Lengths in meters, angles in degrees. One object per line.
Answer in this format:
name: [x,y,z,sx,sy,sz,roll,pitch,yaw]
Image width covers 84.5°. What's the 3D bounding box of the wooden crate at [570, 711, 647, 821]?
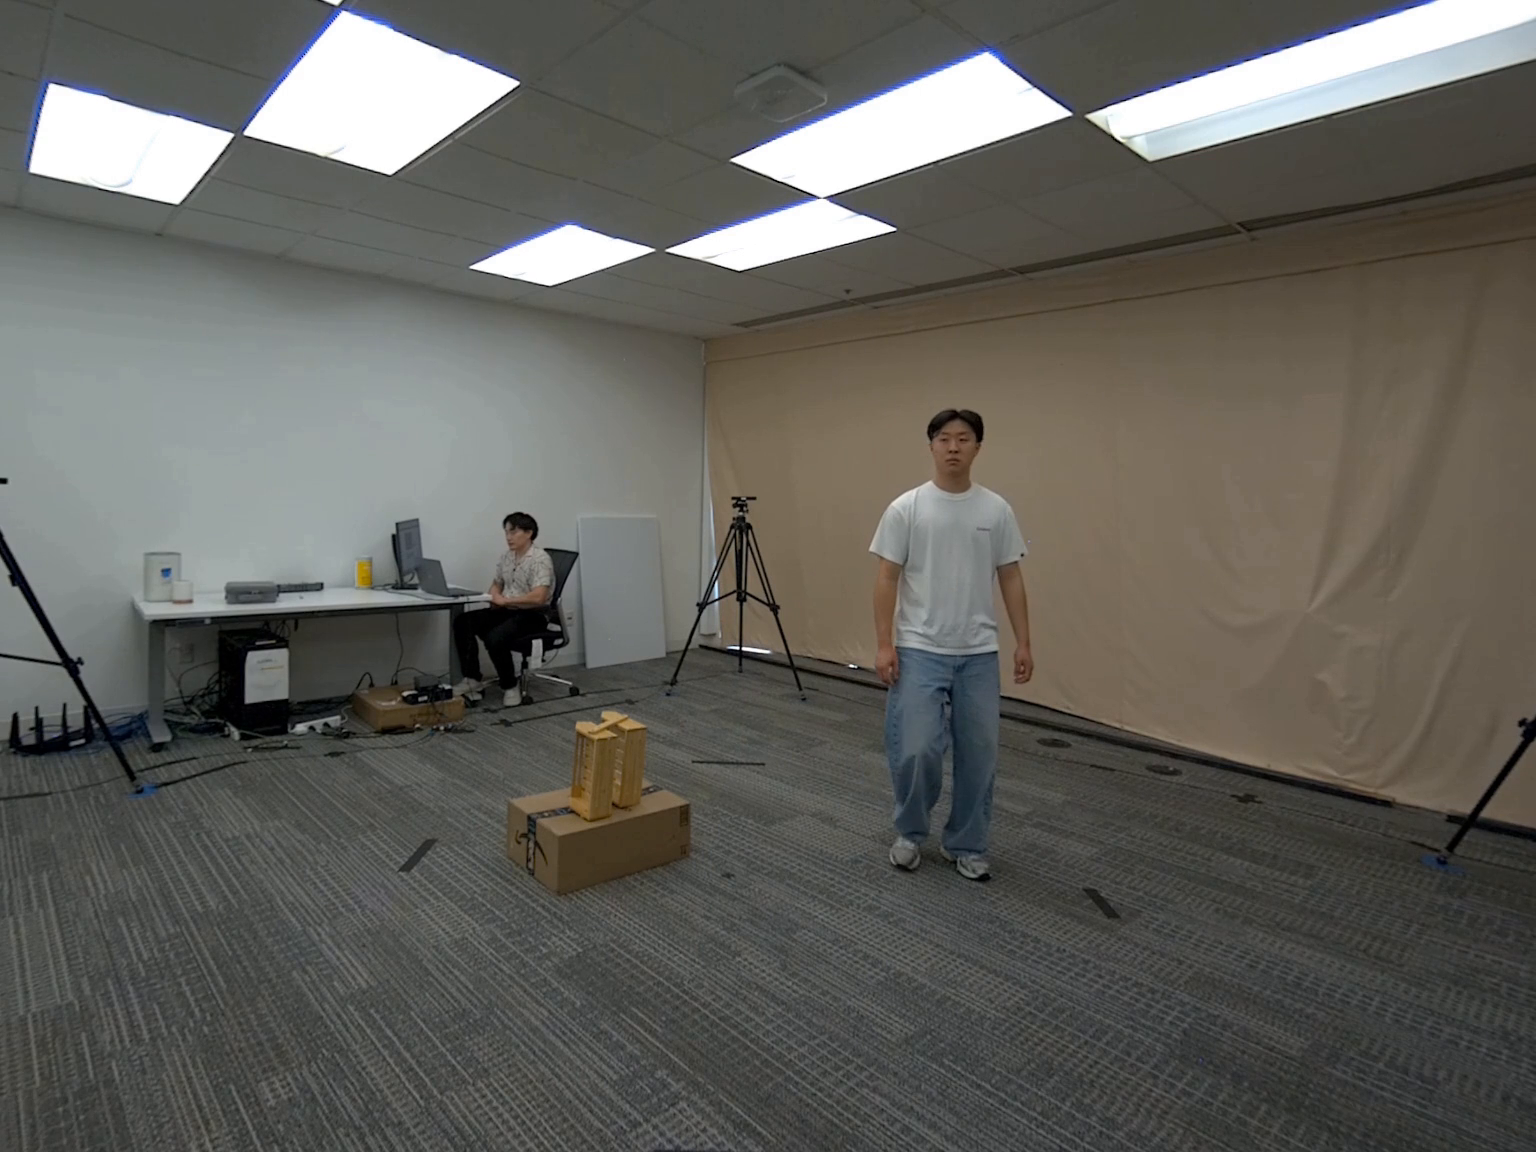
wooden crate: [-0.644,0.709,3.214,0.267,0.323,0.310,2,6,-43]
